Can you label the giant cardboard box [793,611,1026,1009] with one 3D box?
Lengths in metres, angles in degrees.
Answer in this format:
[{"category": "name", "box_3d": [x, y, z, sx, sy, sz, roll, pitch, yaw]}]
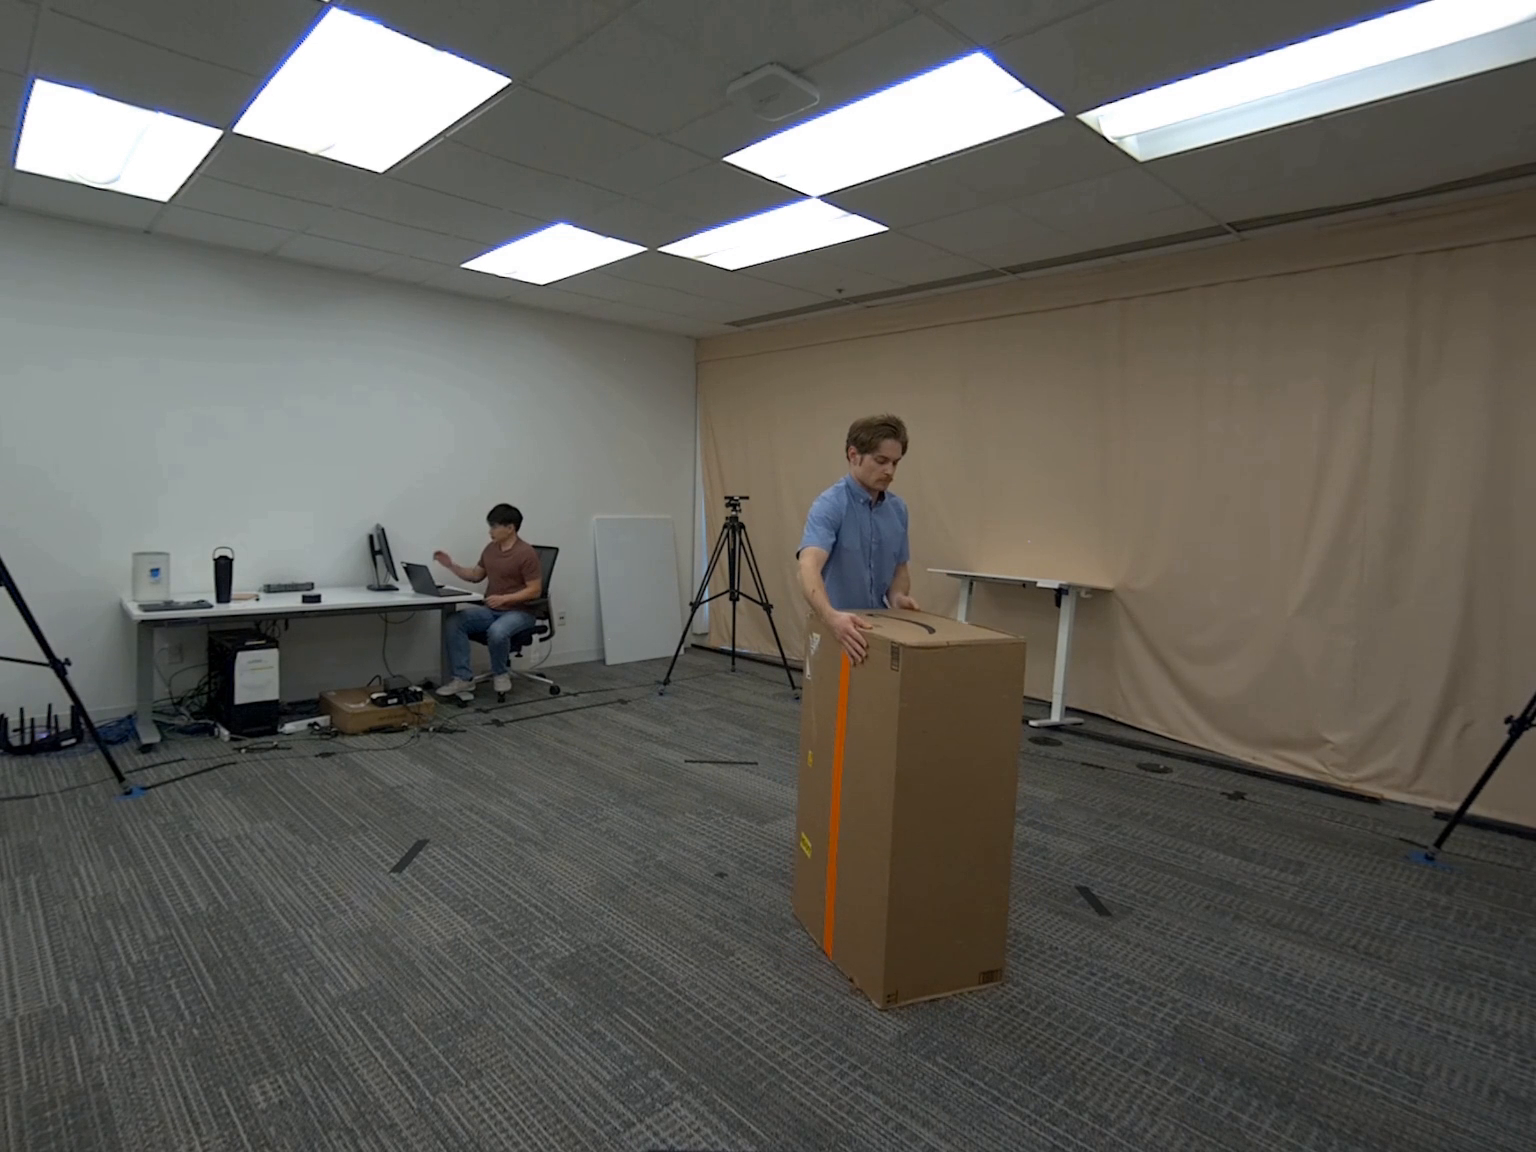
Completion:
[{"category": "giant cardboard box", "box_3d": [0.405, 0.660, 2.599, 0.419, 1.022, 0.589, 1, 5, -22]}]
